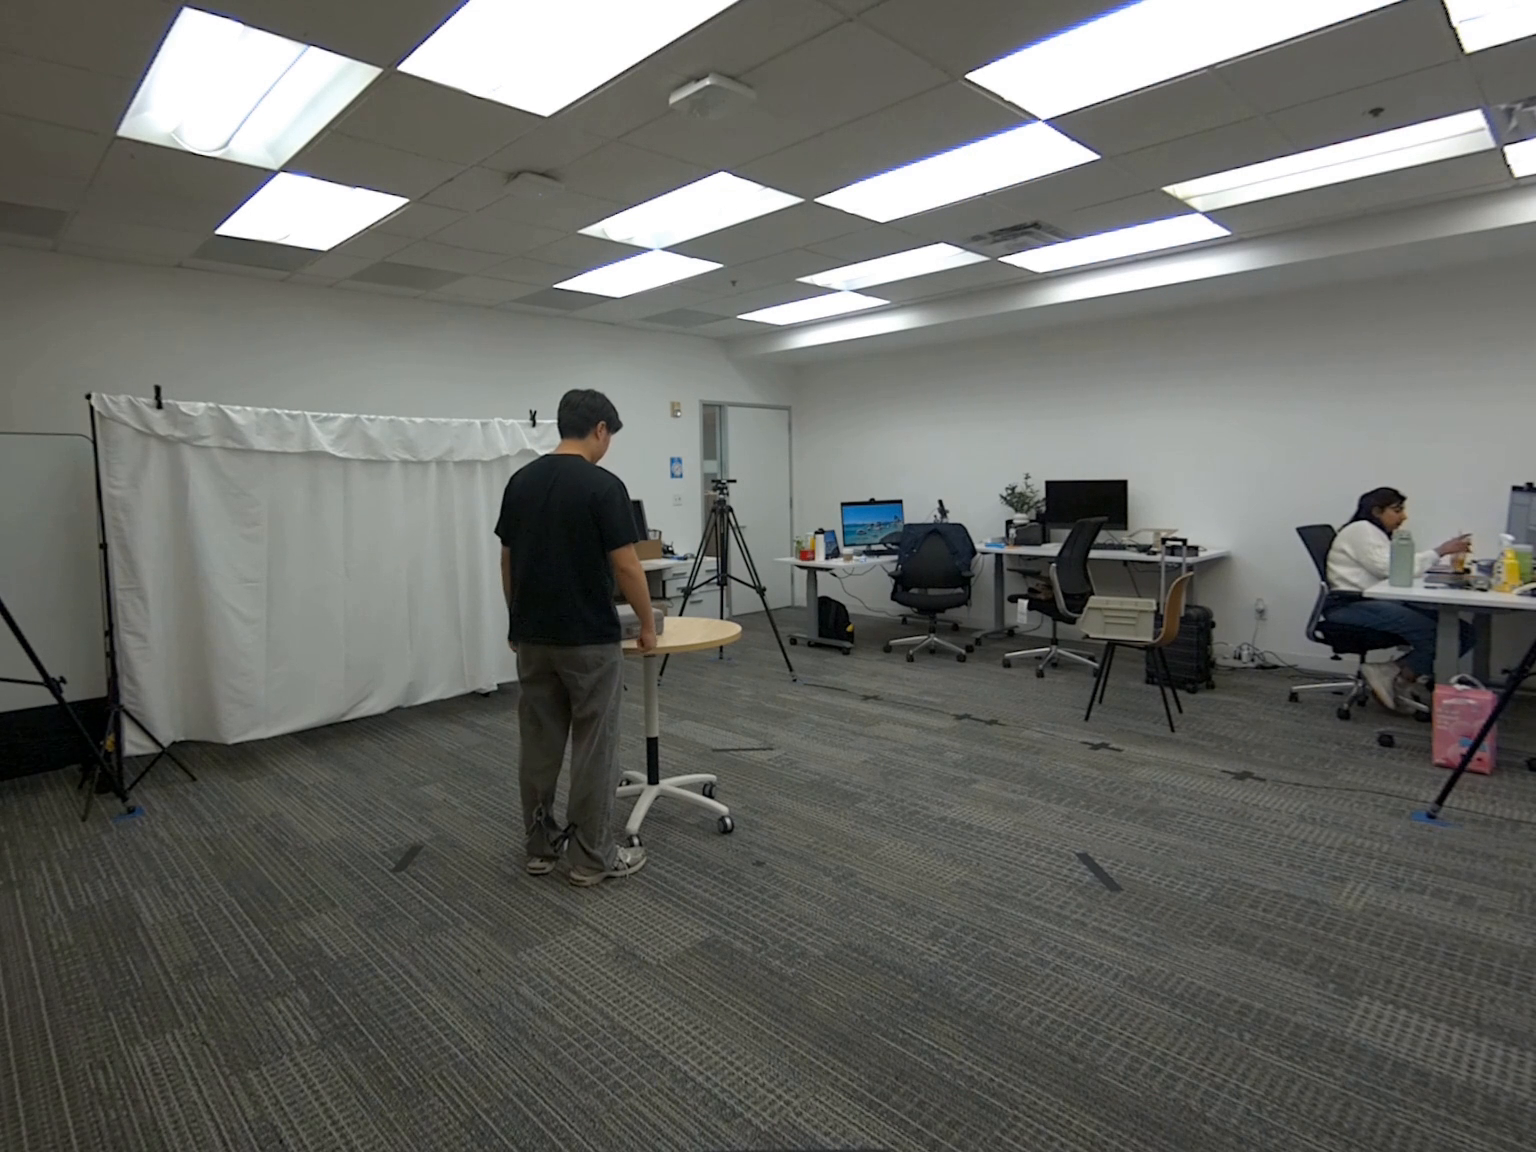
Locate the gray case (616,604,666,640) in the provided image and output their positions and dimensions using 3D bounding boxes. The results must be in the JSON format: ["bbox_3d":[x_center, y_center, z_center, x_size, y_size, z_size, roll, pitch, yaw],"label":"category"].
[{"bbox_3d":[-0.568,0.187,3.447,0.256,0.102,0.296,-5,7,-35],"label":"gray case"}]
